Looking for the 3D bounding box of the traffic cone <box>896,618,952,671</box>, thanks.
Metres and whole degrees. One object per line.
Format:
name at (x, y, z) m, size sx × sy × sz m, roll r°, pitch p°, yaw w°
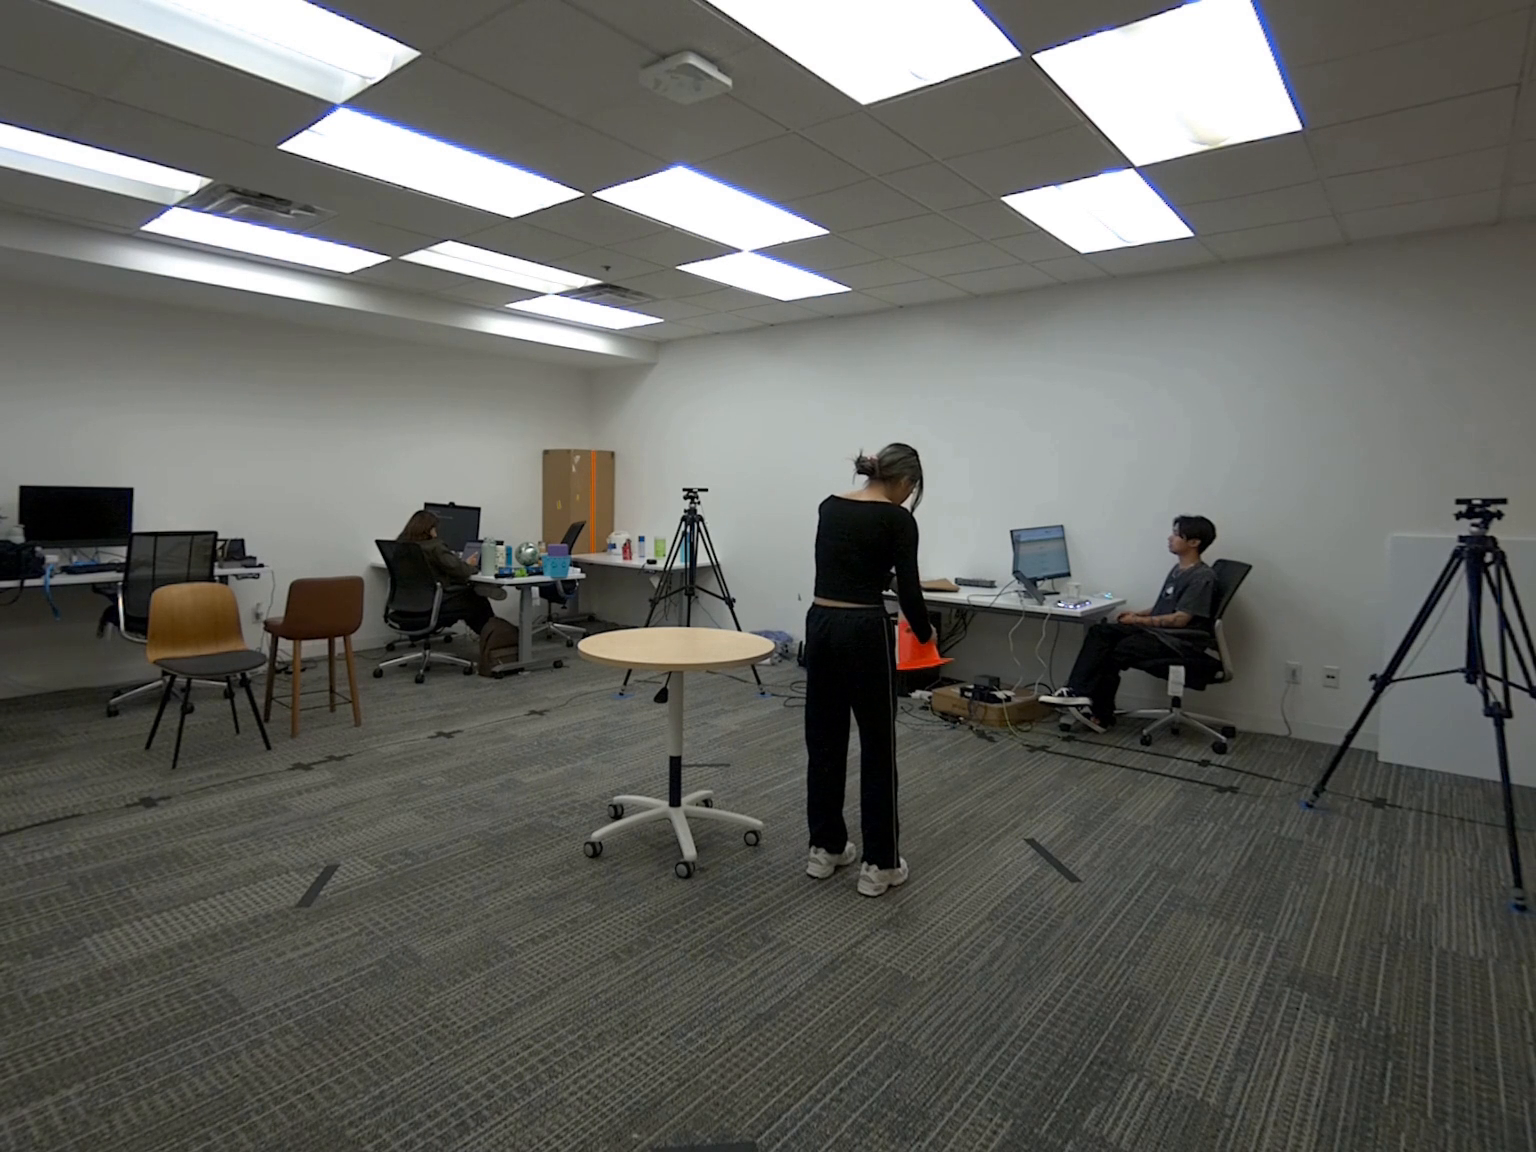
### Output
traffic cone at (0.545, 0.157, 3.285) m, size 0.202 × 0.389 × 0.203 m, roll -3°, pitch -13°, yaw -15°
